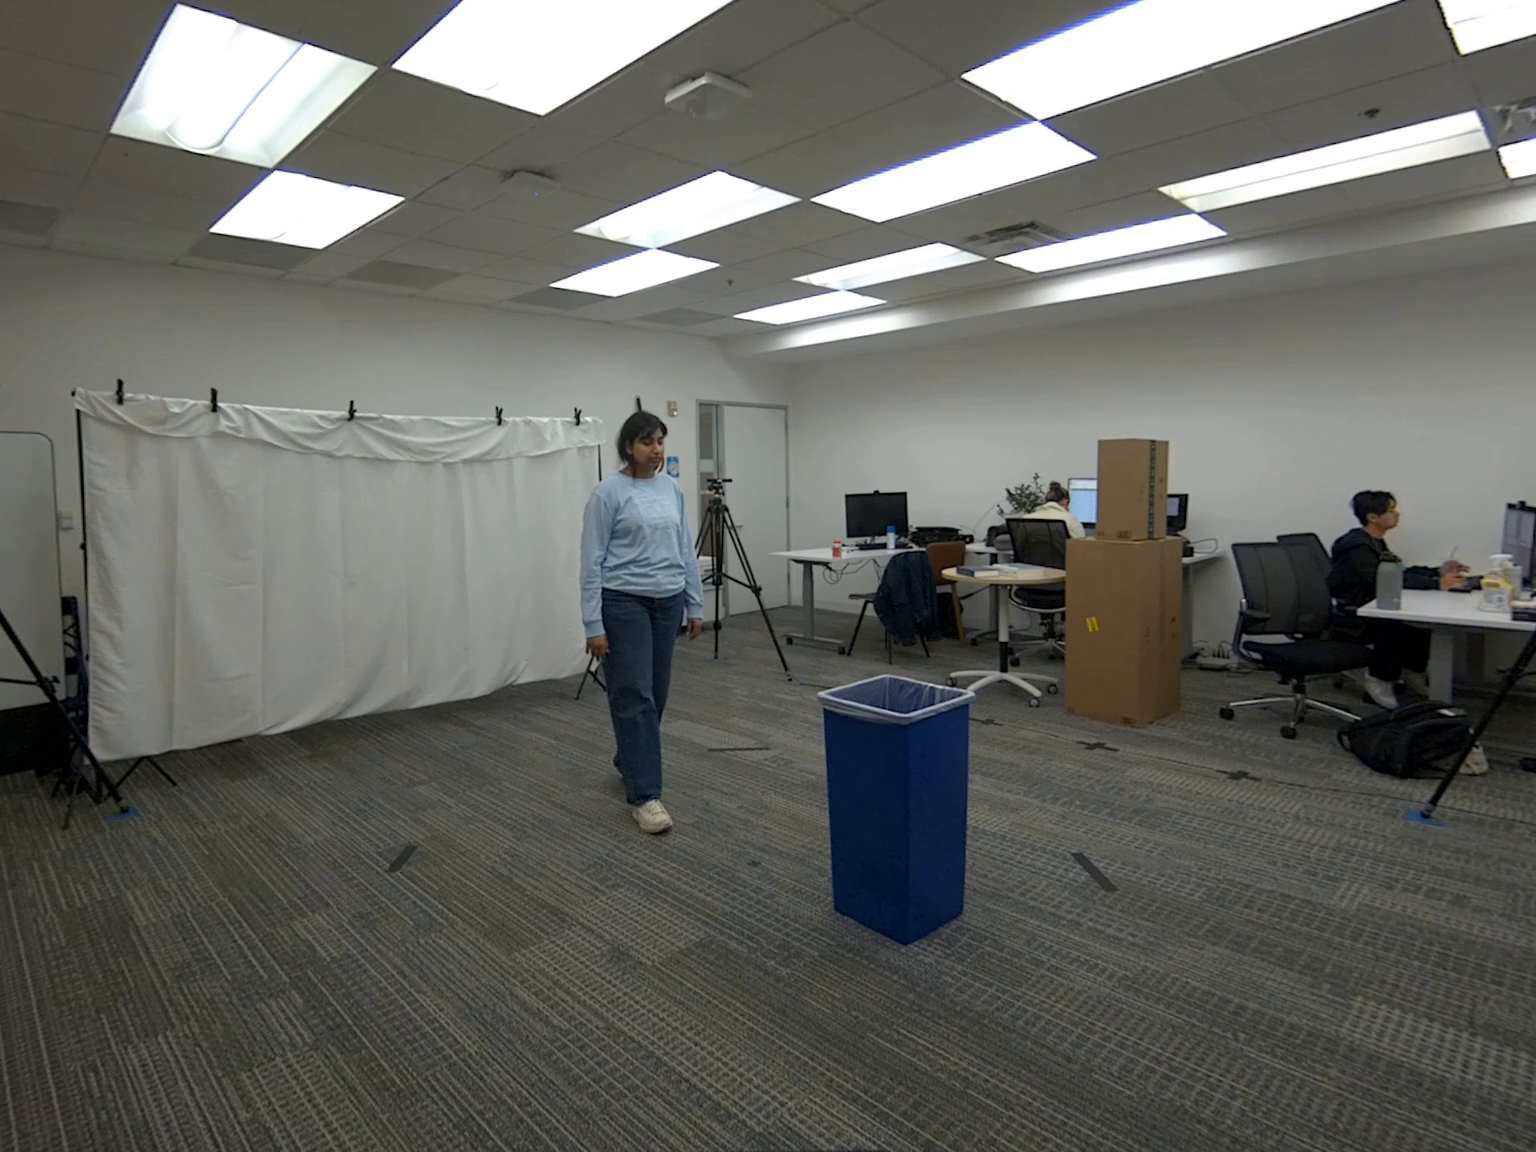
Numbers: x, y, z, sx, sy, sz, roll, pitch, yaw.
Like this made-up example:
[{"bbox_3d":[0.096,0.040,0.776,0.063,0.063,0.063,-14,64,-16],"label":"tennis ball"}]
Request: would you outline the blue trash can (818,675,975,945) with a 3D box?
[{"bbox_3d":[0.411,0.724,2.717,0.364,0.711,0.389,-5,5,-41],"label":"blue trash can"}]
